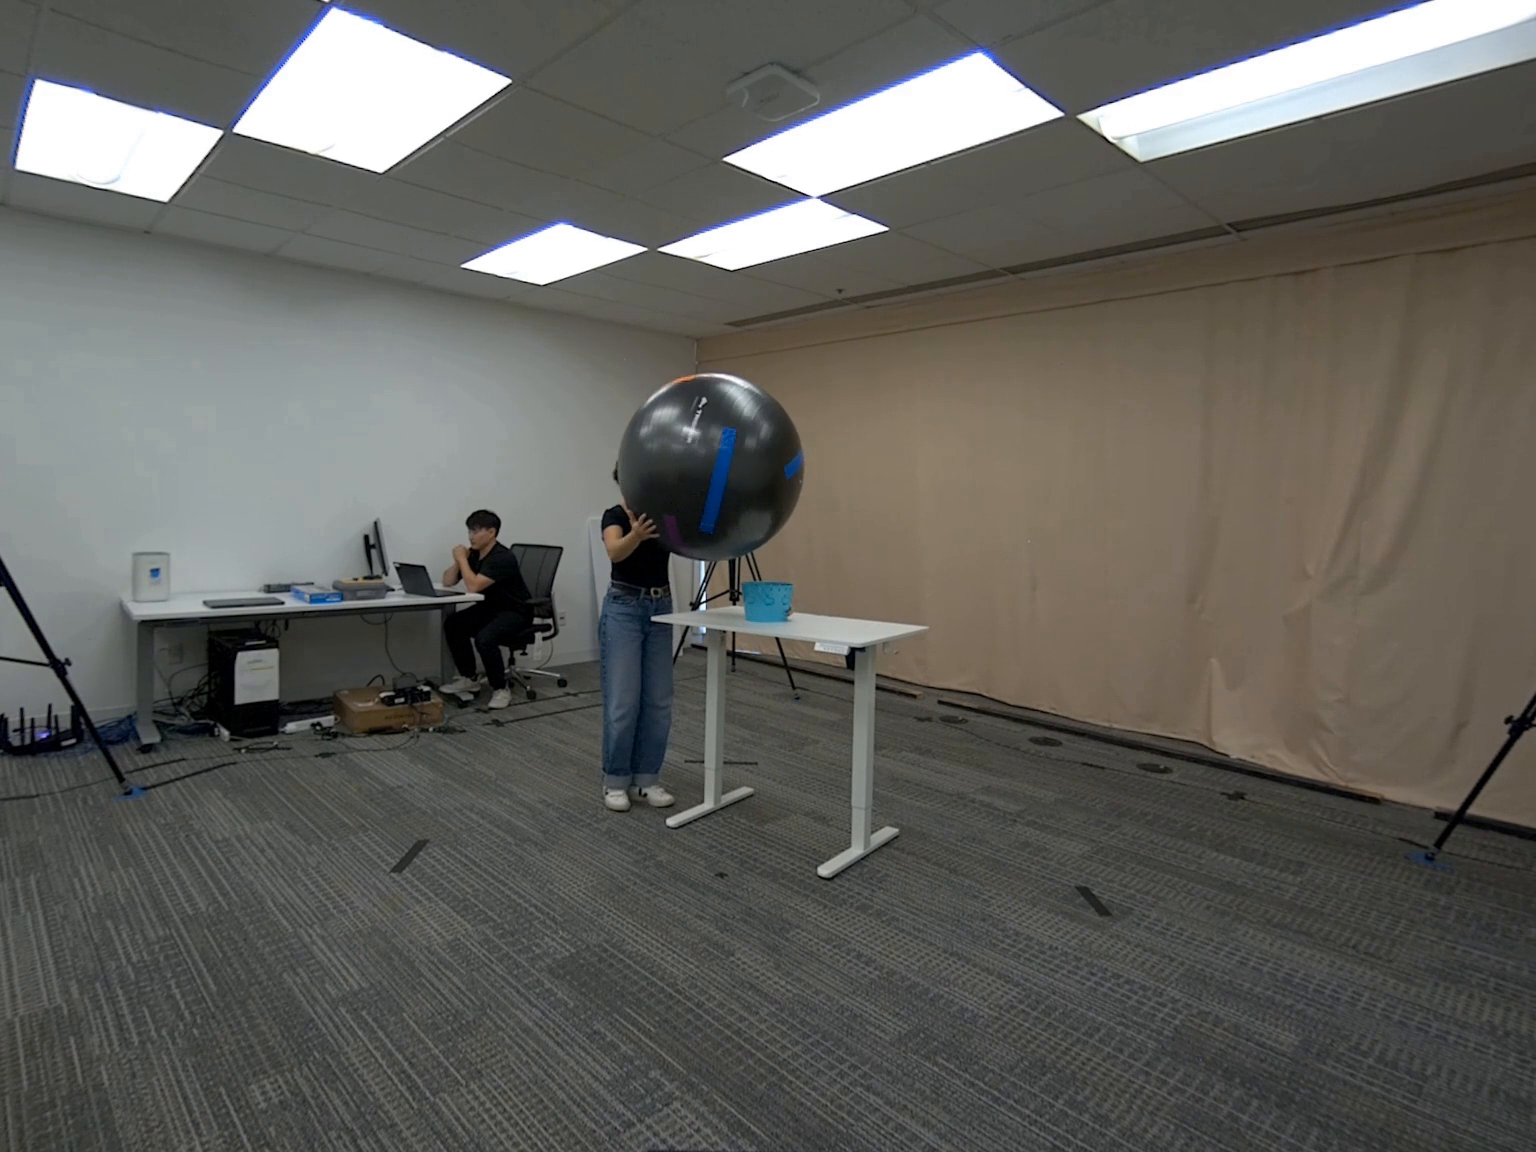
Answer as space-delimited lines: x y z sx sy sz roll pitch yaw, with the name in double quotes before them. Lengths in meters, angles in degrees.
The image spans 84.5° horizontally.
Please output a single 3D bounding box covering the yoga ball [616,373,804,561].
"yoga ball" -0.240 -0.434 3.434 0.757 0.756 0.761 1 4 -1
